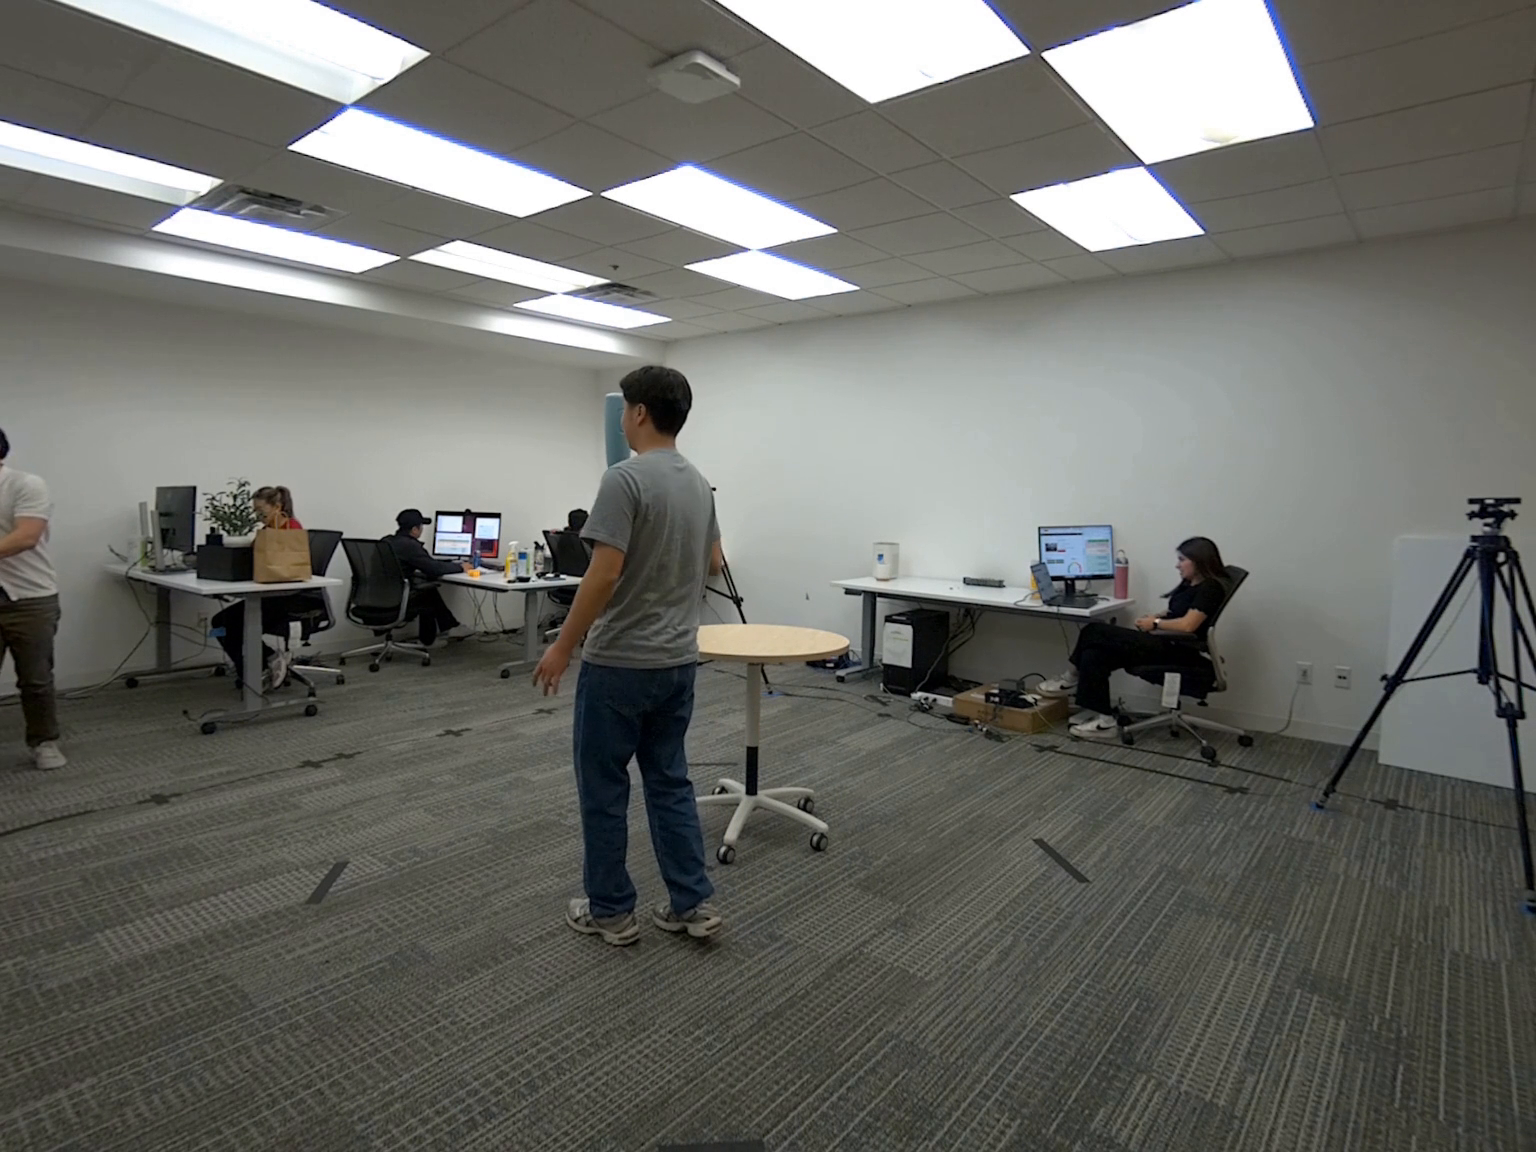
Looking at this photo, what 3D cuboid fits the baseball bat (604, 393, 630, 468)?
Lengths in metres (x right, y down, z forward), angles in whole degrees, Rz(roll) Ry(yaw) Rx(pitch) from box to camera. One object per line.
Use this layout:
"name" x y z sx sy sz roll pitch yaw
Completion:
"baseball bat" -0.516 -0.340 2.822 0.089 0.538 0.090 1 10 -2
